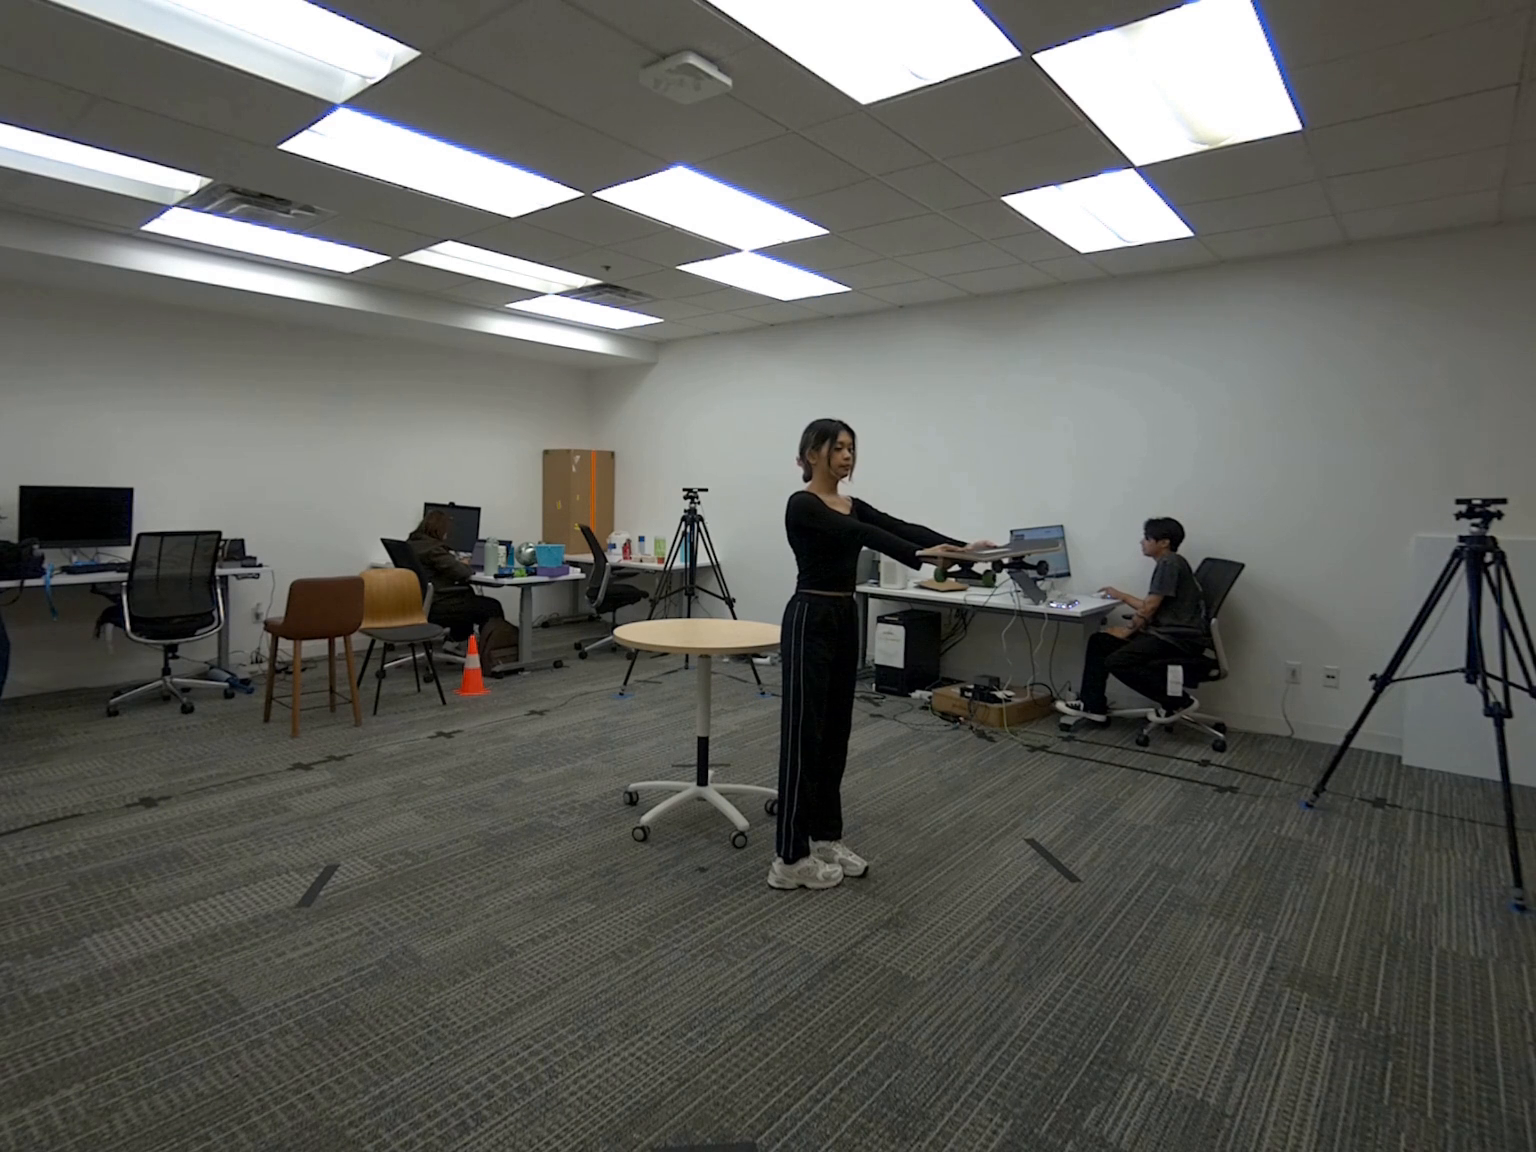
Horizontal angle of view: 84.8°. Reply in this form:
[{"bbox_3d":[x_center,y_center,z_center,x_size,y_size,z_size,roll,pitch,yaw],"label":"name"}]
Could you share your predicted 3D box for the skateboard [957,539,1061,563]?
[{"bbox_3d":[0.713,-0.049,2.661,0.200,0.110,0.763,7,9,40],"label":"skateboard"}]
